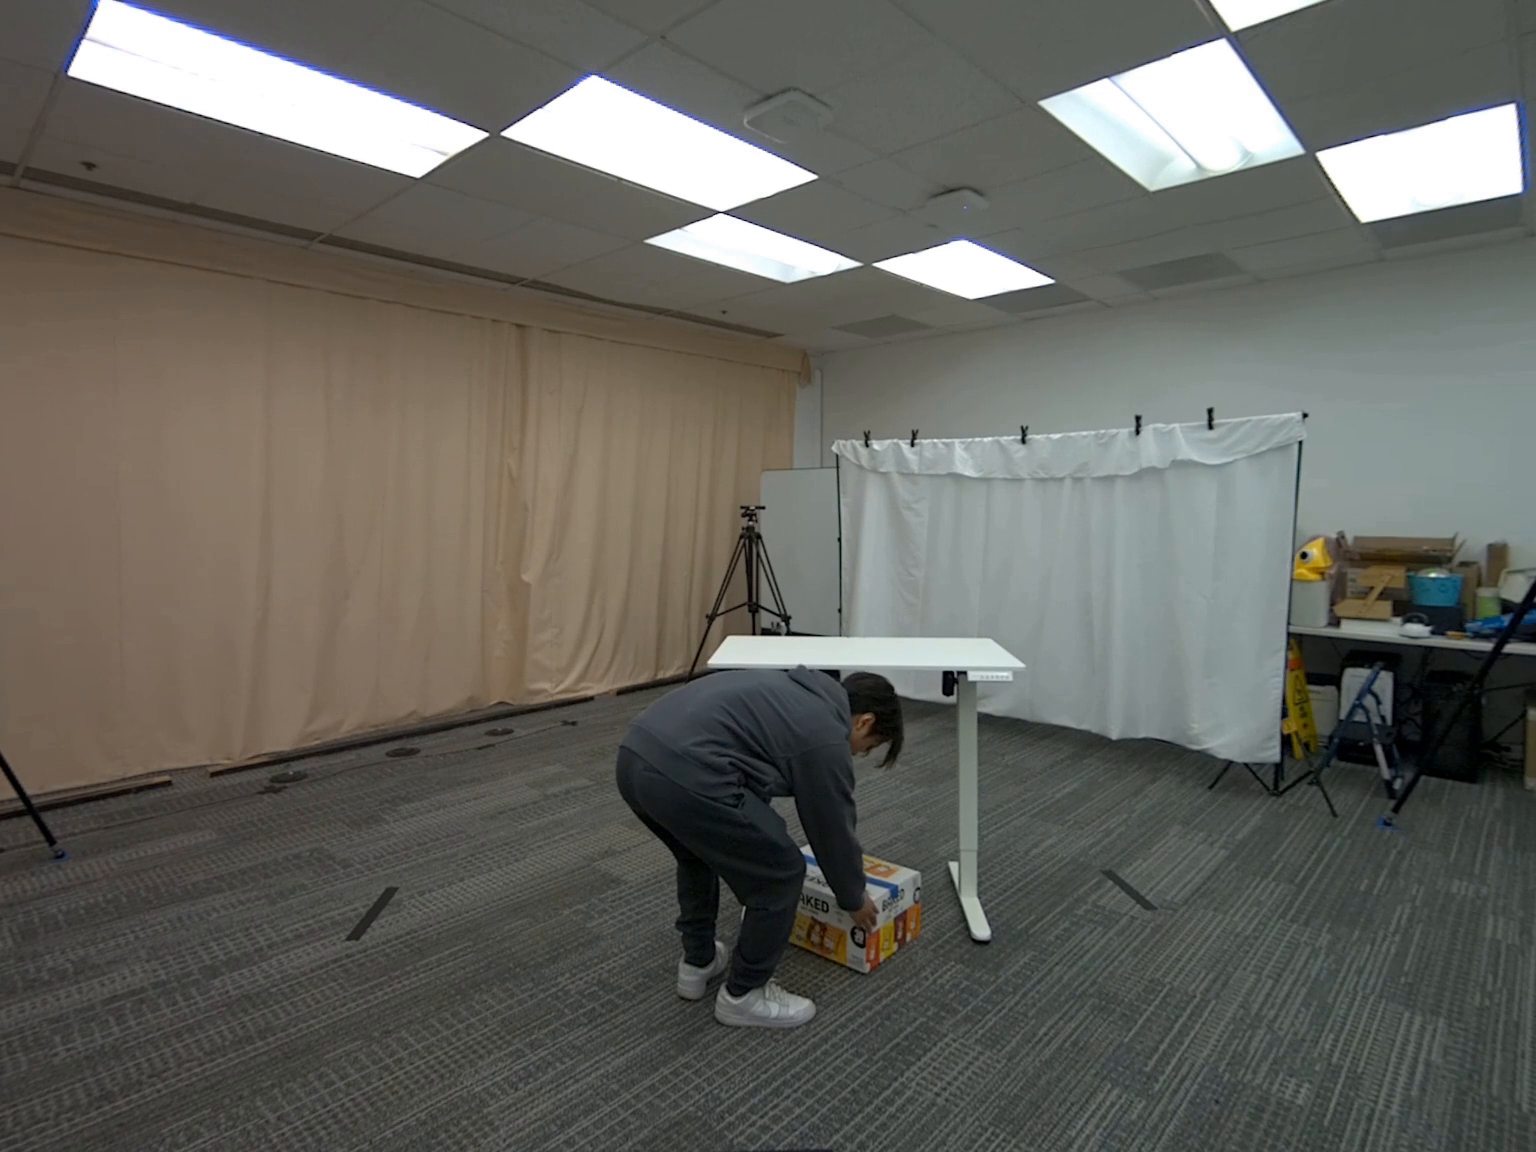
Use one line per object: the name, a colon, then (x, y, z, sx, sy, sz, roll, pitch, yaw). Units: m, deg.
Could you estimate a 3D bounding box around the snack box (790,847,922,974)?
snack box: (0.234, 1.057, 2.732, 0.418, 0.205, 0.330, 4, 4, 39)
